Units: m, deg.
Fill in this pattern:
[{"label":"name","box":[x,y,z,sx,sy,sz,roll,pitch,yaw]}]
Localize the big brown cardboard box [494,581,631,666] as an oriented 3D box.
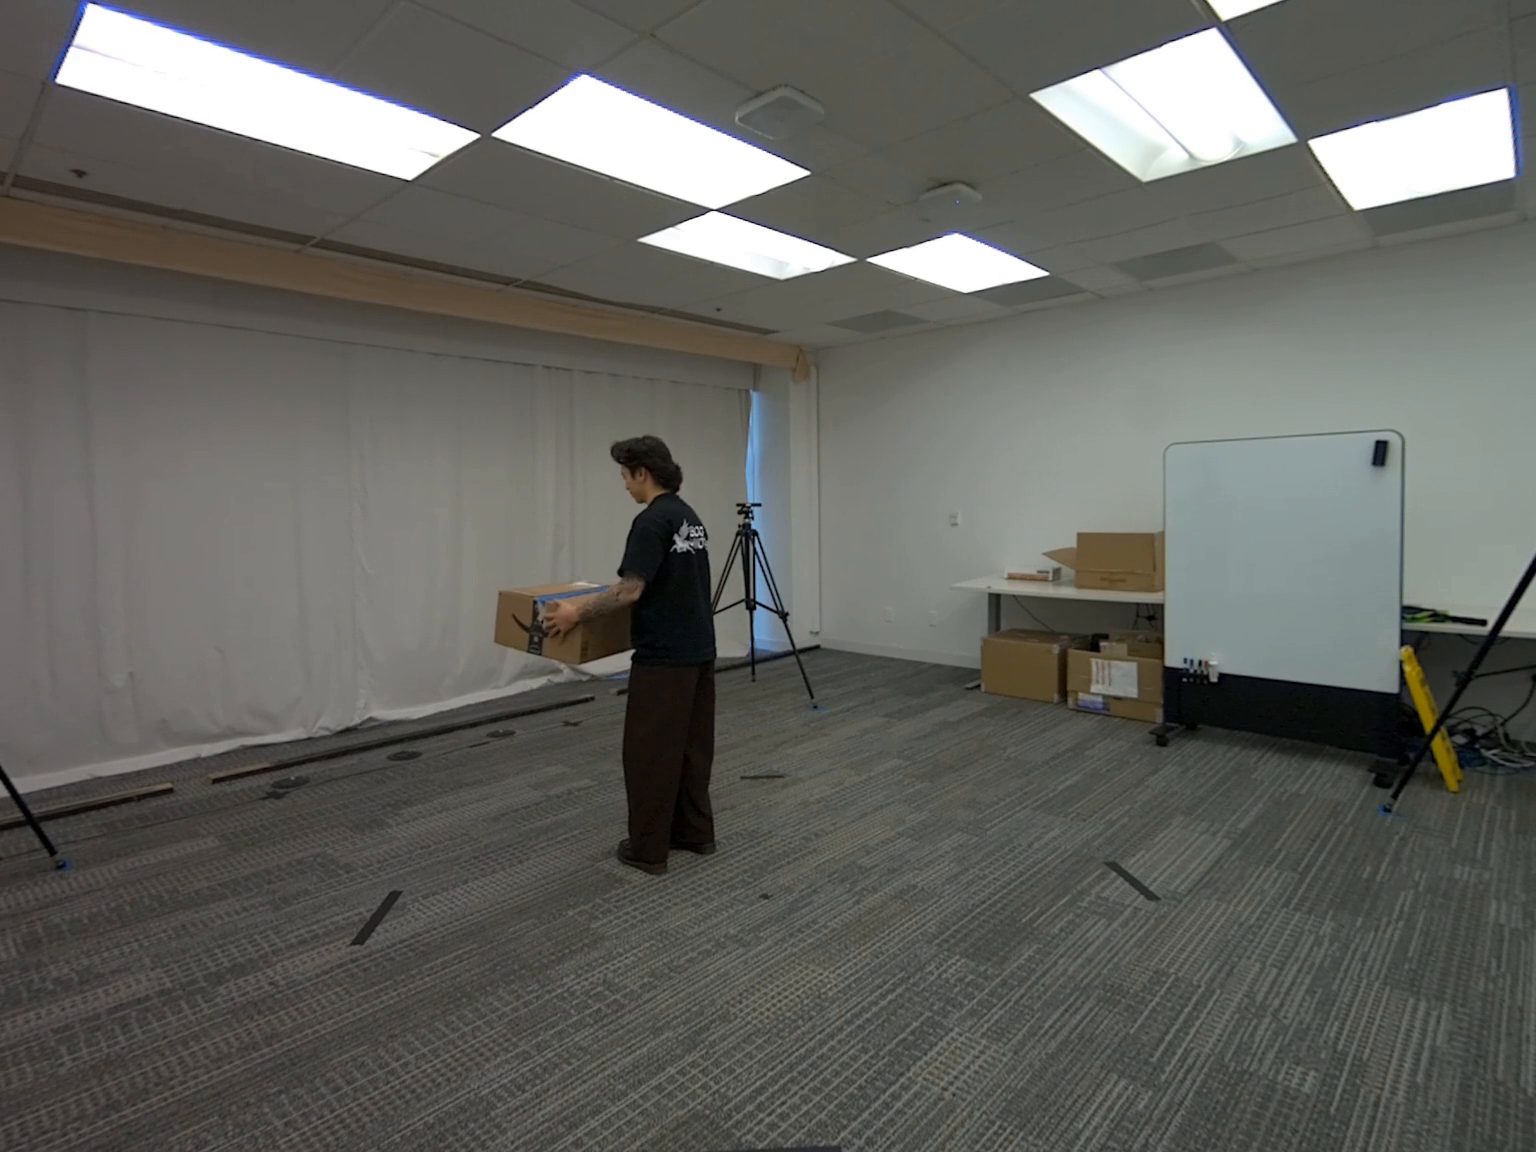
[{"label":"big brown cardboard box","box":[-0.761,0.173,3.473,0.429,0.232,0.575,10,8,24]}]
